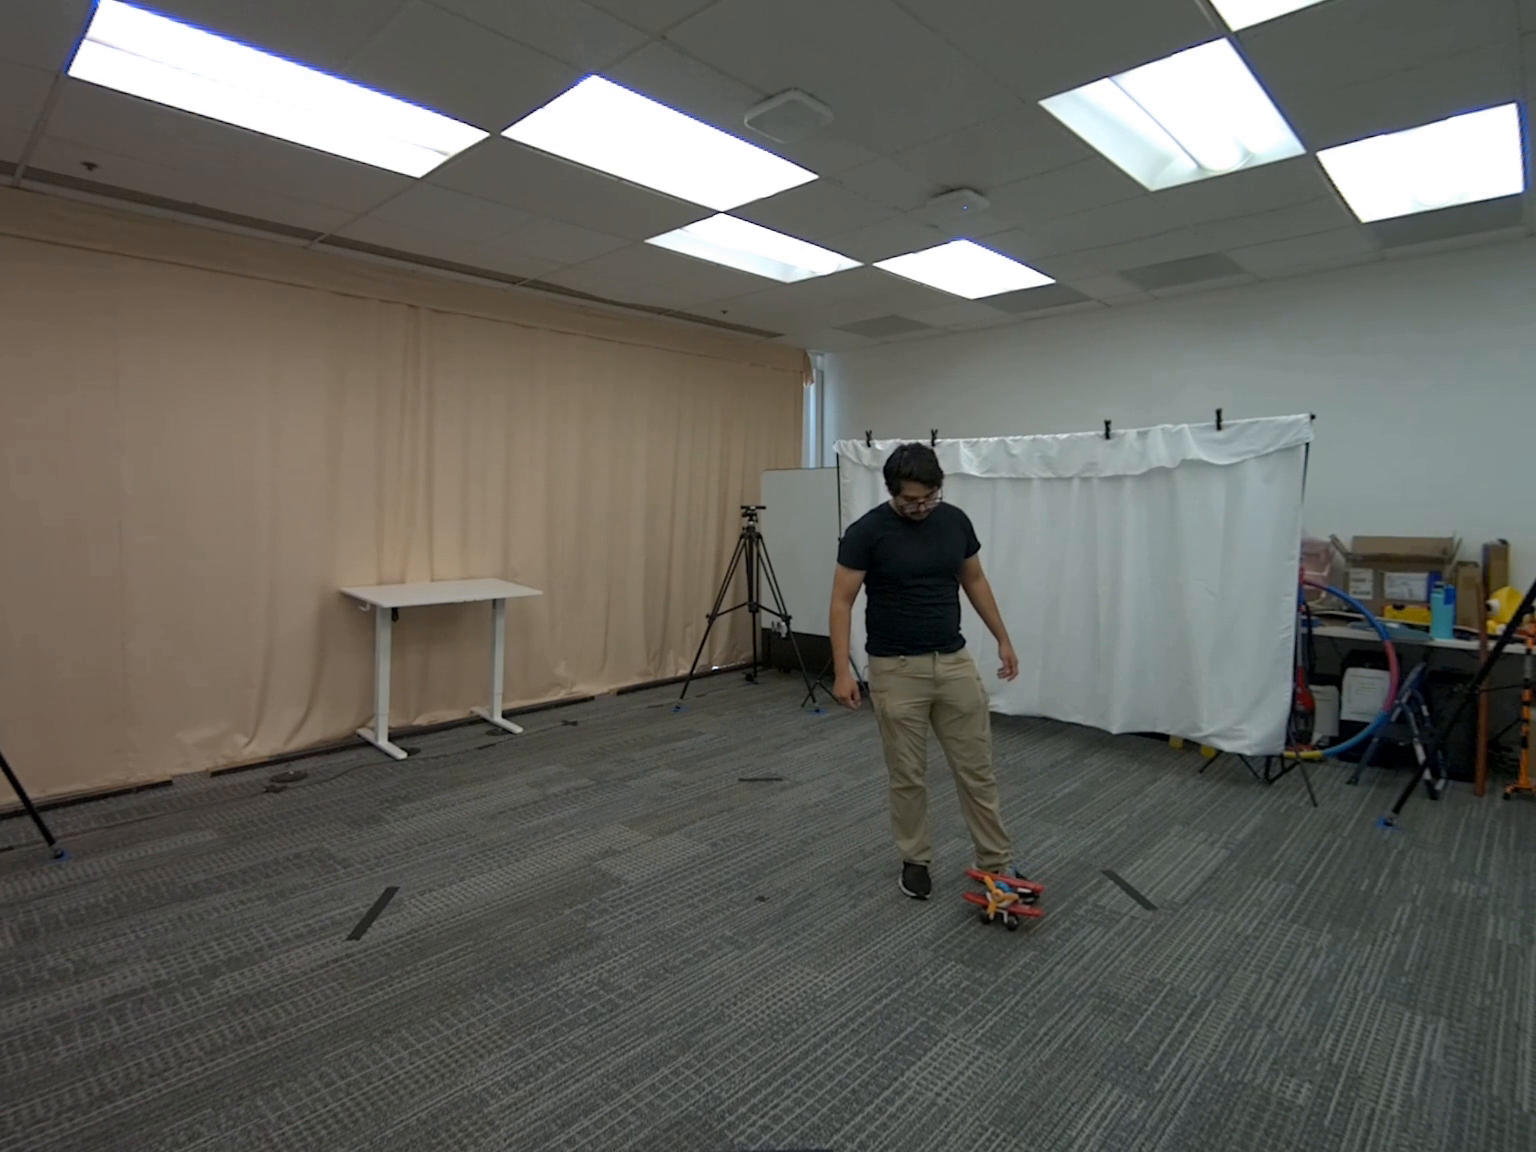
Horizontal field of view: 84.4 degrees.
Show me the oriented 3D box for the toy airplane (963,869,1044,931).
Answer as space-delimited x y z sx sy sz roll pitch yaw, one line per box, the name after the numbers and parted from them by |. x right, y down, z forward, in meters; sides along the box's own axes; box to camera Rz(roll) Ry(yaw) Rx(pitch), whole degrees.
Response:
0.794 1.084 2.847 0.252 0.156 0.260 1 8 1 | toy airplane
